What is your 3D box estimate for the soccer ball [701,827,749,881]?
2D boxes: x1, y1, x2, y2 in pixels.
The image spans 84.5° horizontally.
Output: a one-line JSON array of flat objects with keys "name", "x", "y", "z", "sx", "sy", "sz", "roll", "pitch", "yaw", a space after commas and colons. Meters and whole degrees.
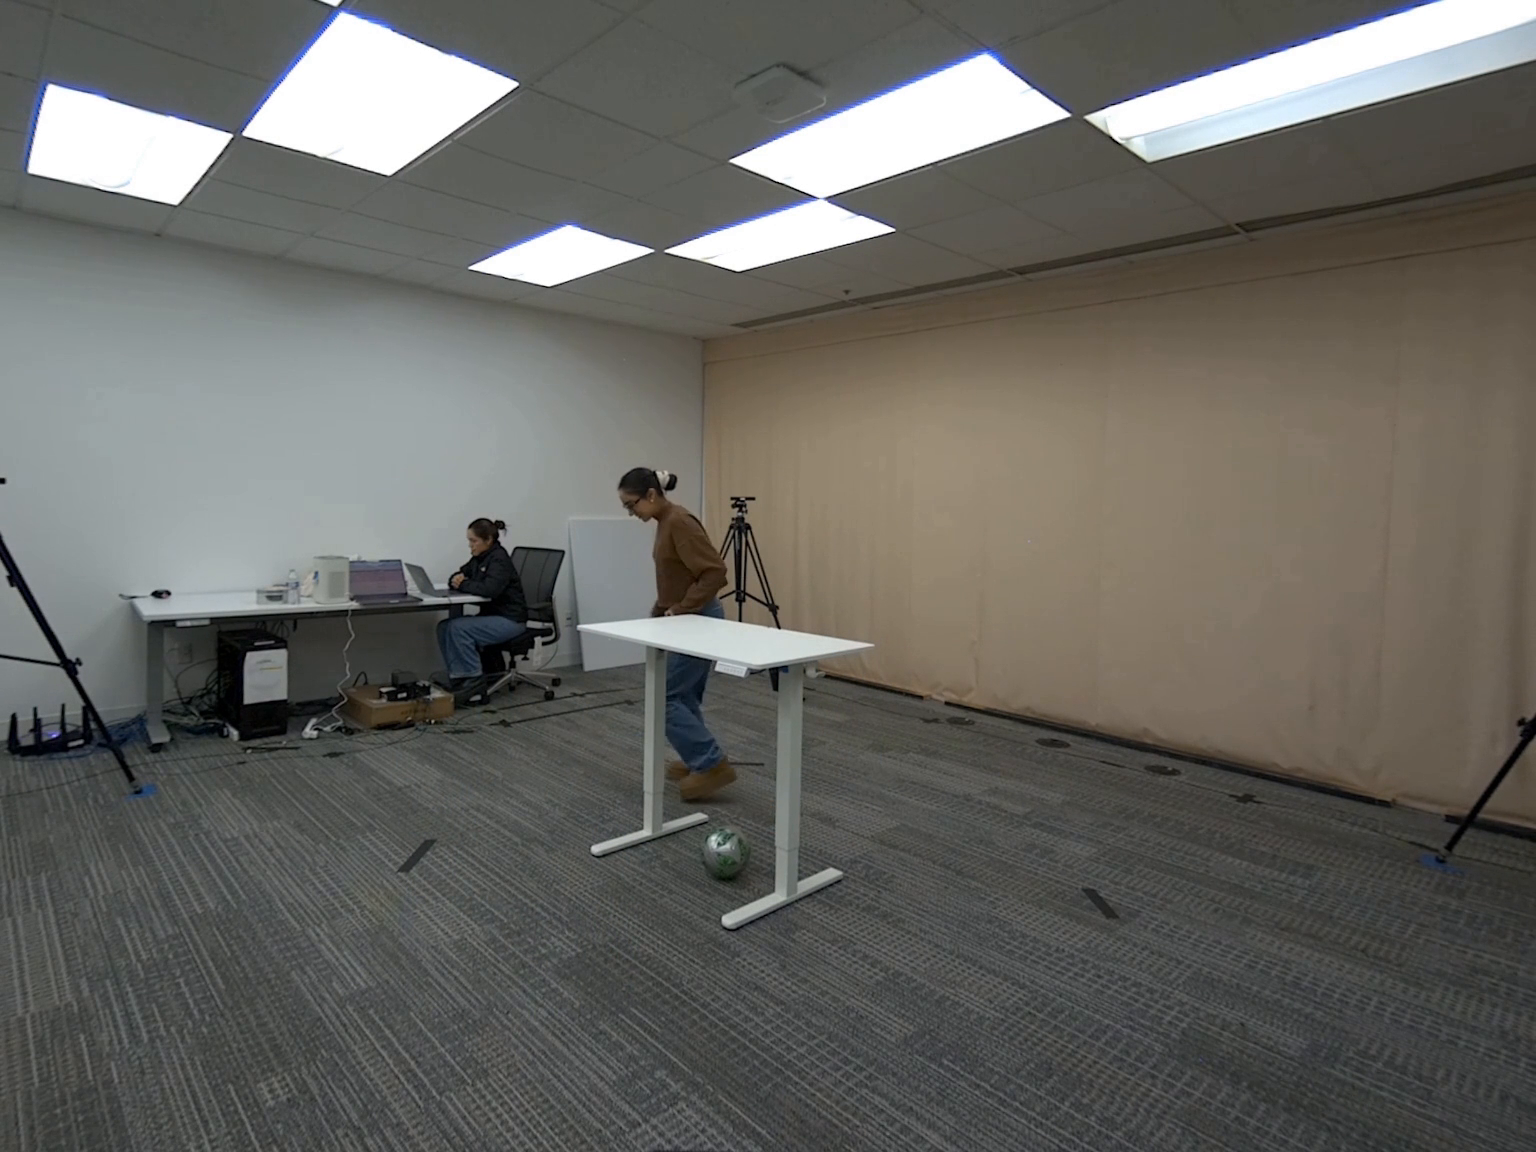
[{"name": "soccer ball", "x": -0.159, "y": 1.016, "z": 3.089, "sx": 0.187, "sy": 0.187, "sz": 0.188, "roll": 1, "pitch": 4, "yaw": -1}]
